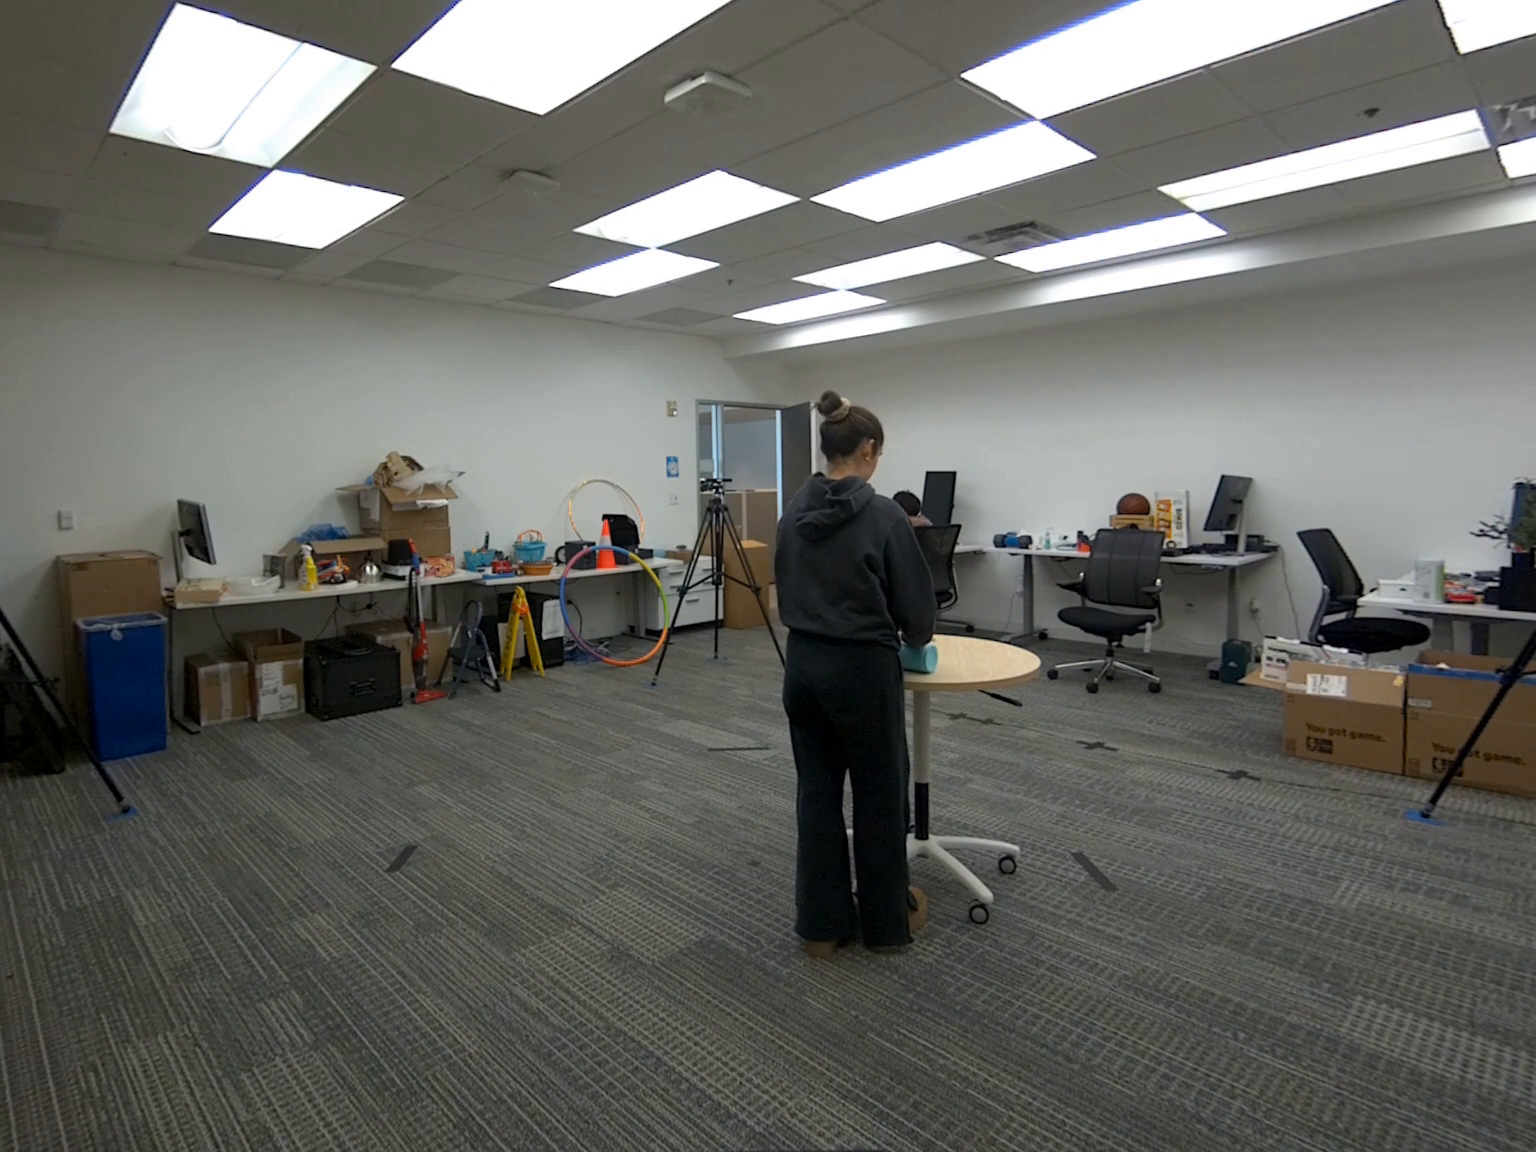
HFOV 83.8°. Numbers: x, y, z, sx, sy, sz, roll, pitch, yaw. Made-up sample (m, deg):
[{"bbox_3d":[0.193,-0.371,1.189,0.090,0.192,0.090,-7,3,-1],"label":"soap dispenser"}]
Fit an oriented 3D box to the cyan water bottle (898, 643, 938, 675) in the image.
[{"bbox_3d":[0.405,0.250,2.742,0.291,0.092,0.090,2,5,38],"label":"cyan water bottle"}]
